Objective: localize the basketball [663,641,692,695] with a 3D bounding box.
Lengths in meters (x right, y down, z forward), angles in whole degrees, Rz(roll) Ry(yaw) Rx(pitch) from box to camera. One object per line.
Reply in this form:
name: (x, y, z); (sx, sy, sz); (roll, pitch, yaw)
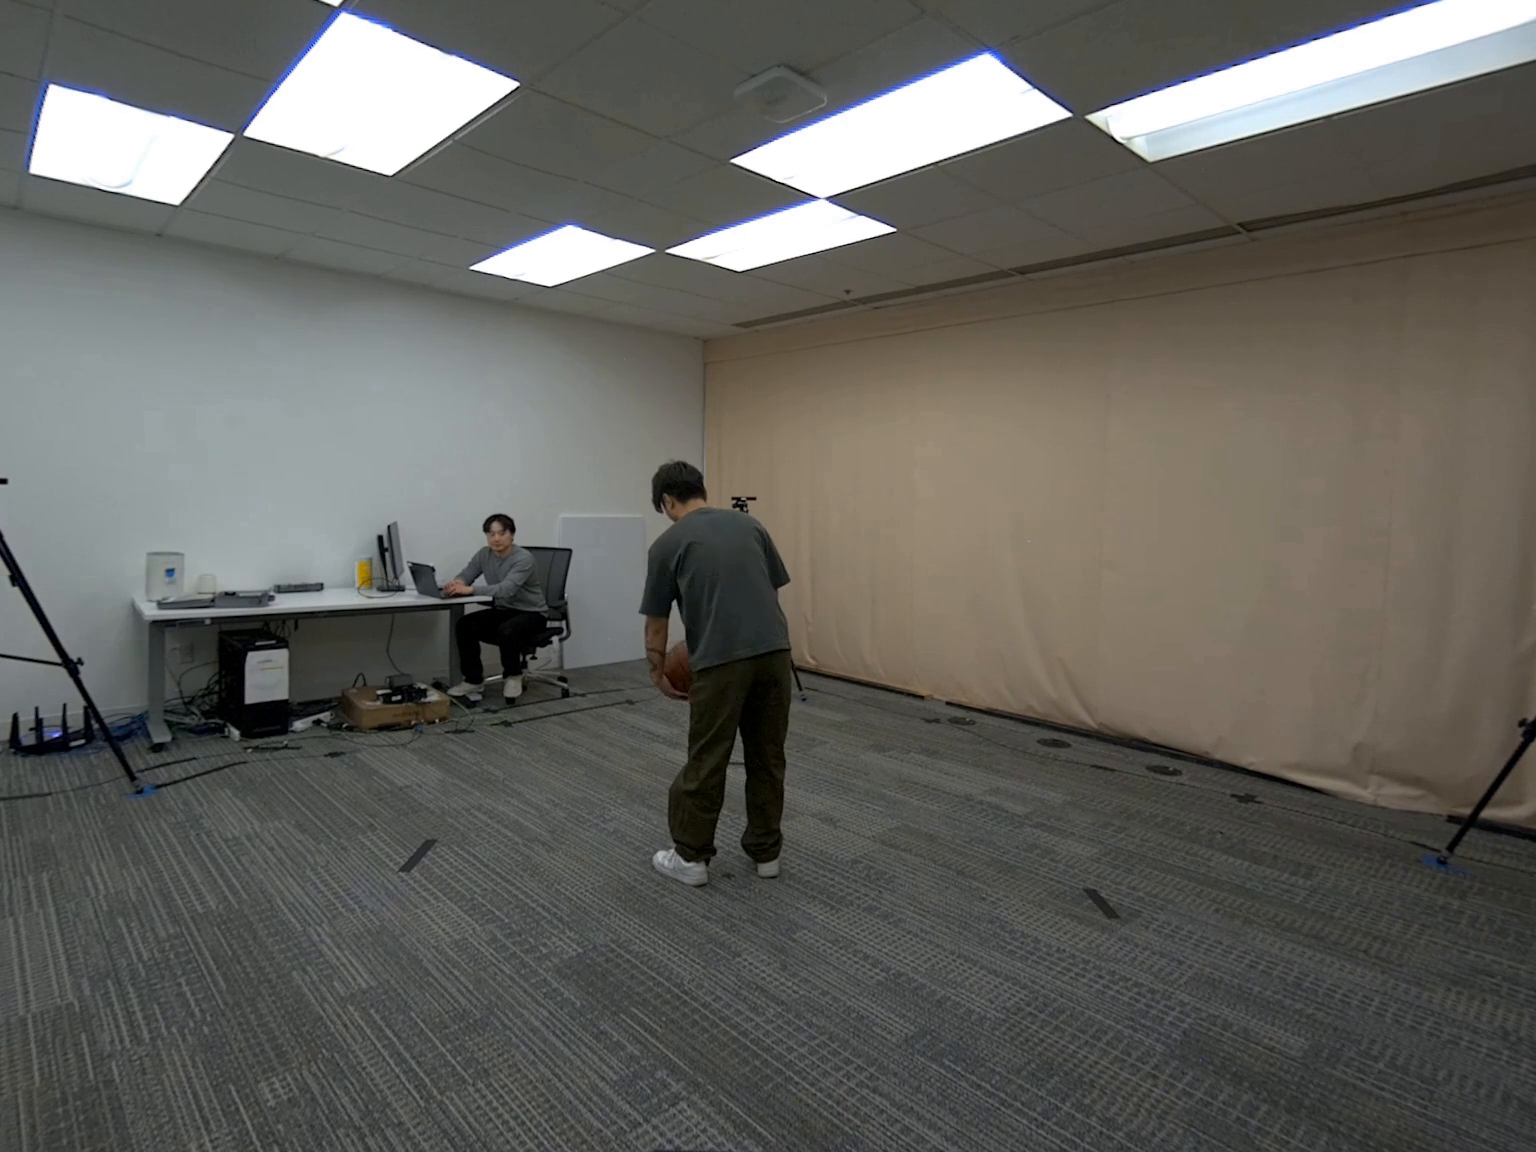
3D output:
basketball: (-0.303, 0.364, 3.319); (0.236, 0.235, 0.237); (1, 4, -1)
